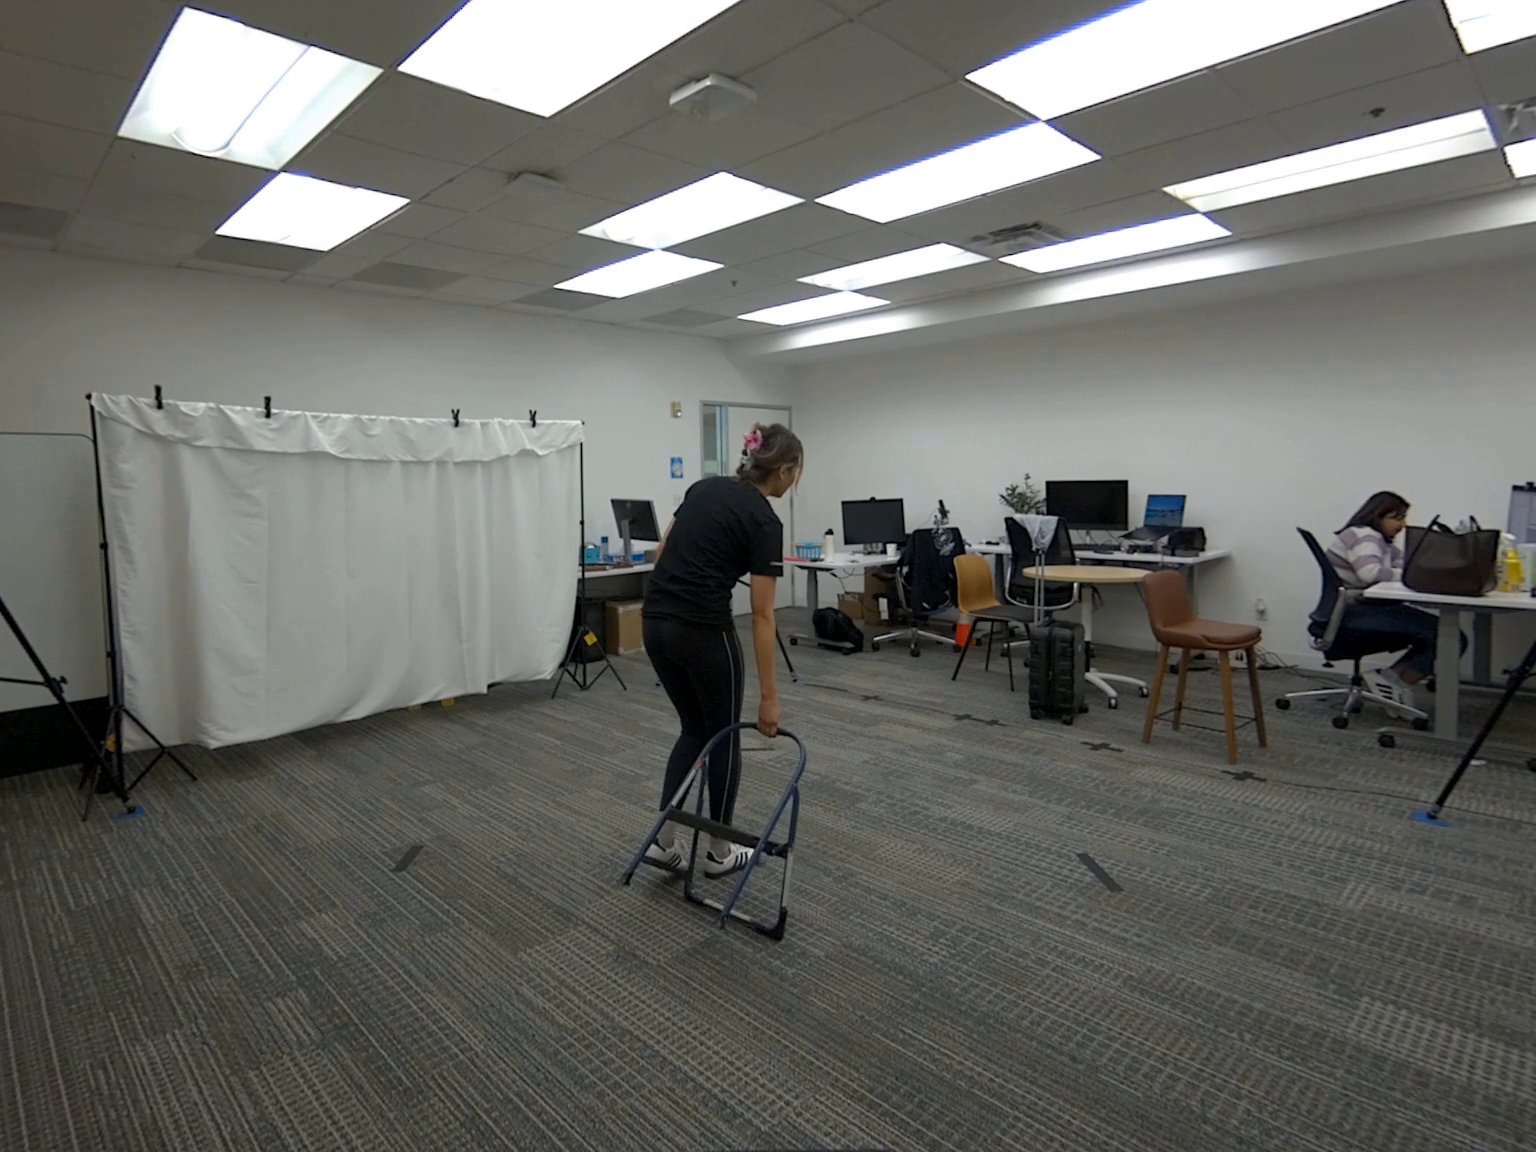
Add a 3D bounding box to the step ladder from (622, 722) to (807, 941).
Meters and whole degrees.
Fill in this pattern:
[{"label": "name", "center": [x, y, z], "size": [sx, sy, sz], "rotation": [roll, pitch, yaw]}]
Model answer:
[{"label": "step ladder", "center": [-0.116, 0.753, 2.705], "size": [0.443, 0.612, 0.335], "rotation": [3, -23, 39]}]
